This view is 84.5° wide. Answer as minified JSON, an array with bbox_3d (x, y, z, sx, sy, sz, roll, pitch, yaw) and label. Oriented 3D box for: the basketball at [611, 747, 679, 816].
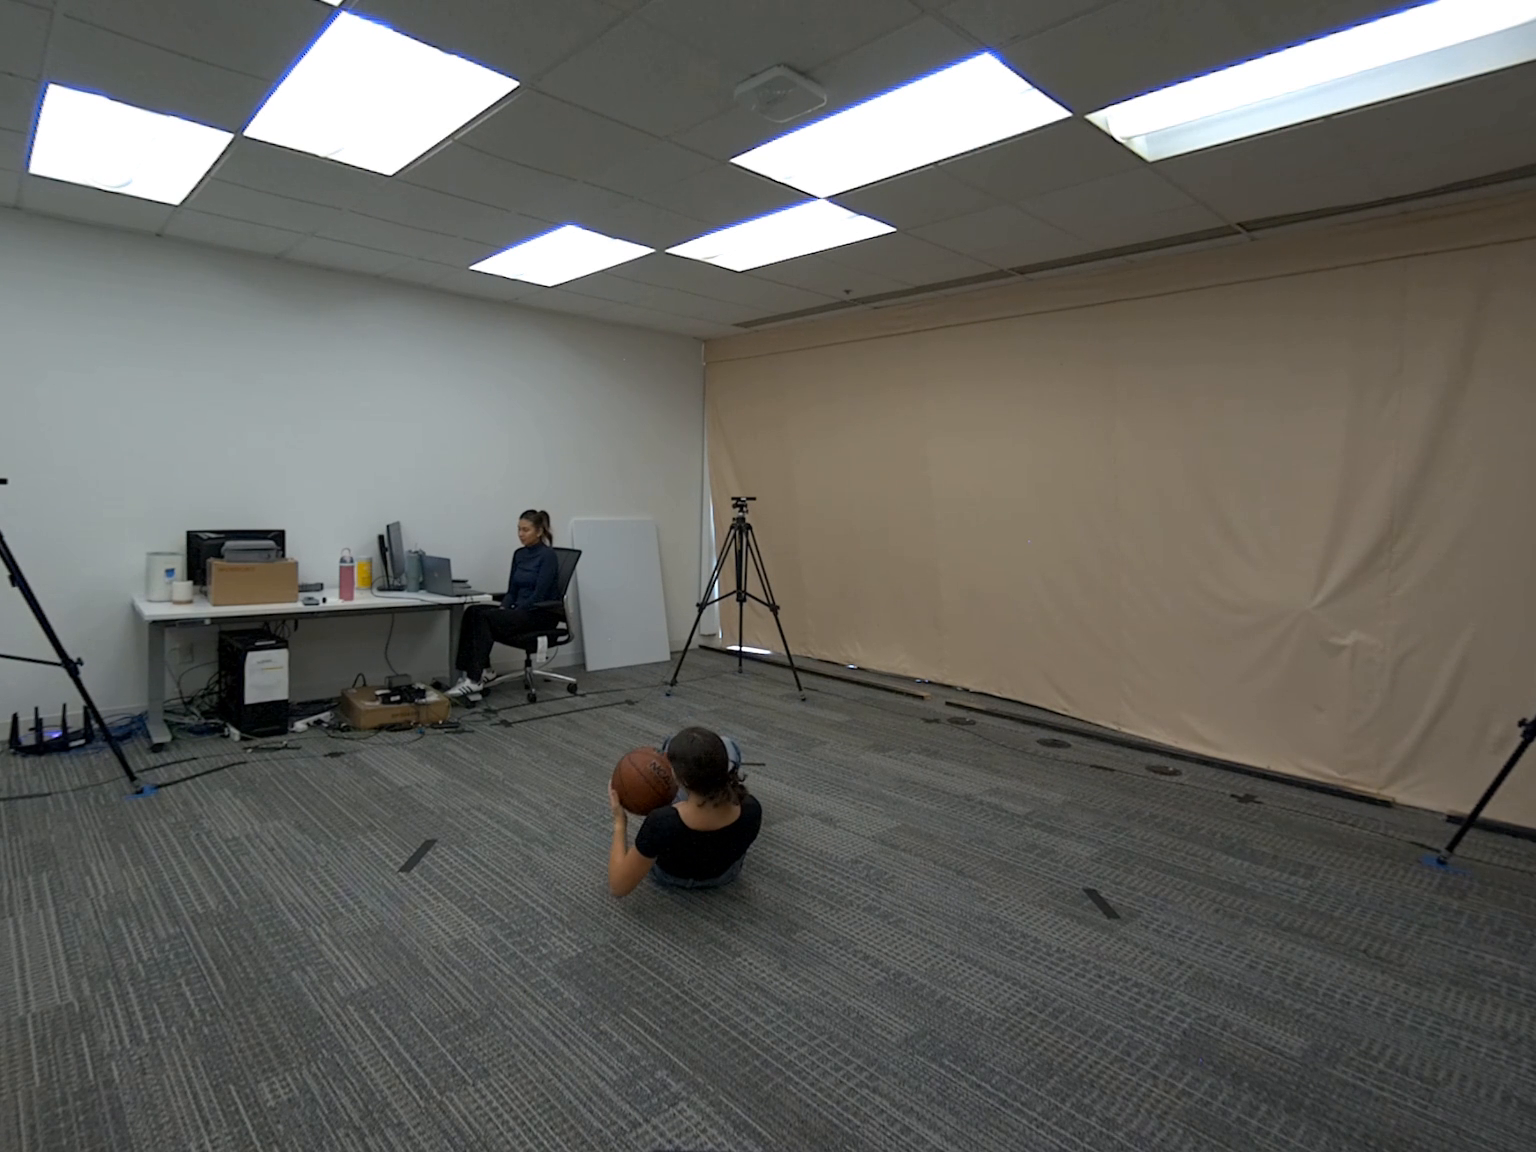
[{"bbox_3d":[-0.440,0.738,2.990,0.236,0.235,0.237,1,4,-1],"label":"basketball"}]
